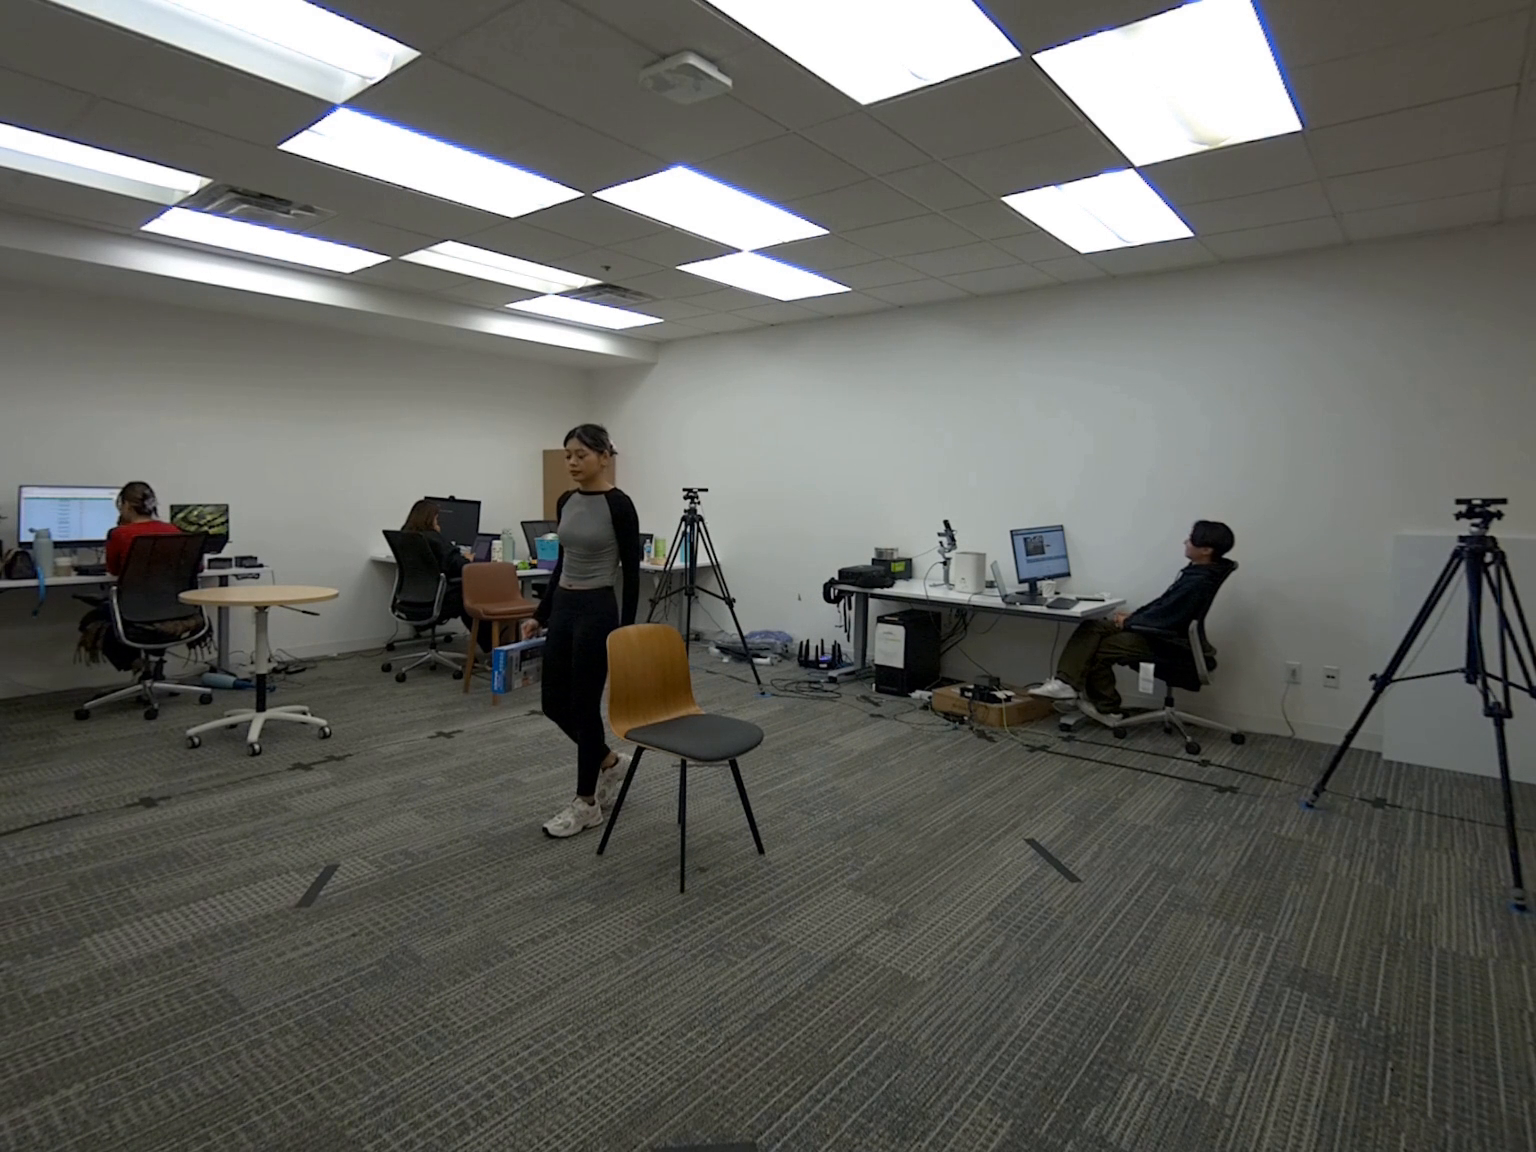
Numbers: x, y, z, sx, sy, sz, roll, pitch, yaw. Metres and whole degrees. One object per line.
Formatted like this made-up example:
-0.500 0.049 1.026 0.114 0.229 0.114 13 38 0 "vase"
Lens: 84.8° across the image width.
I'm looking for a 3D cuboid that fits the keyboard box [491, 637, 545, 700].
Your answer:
-1.003 0.355 3.506 0.060 0.176 0.429 3 2 14 "keyboard box"
